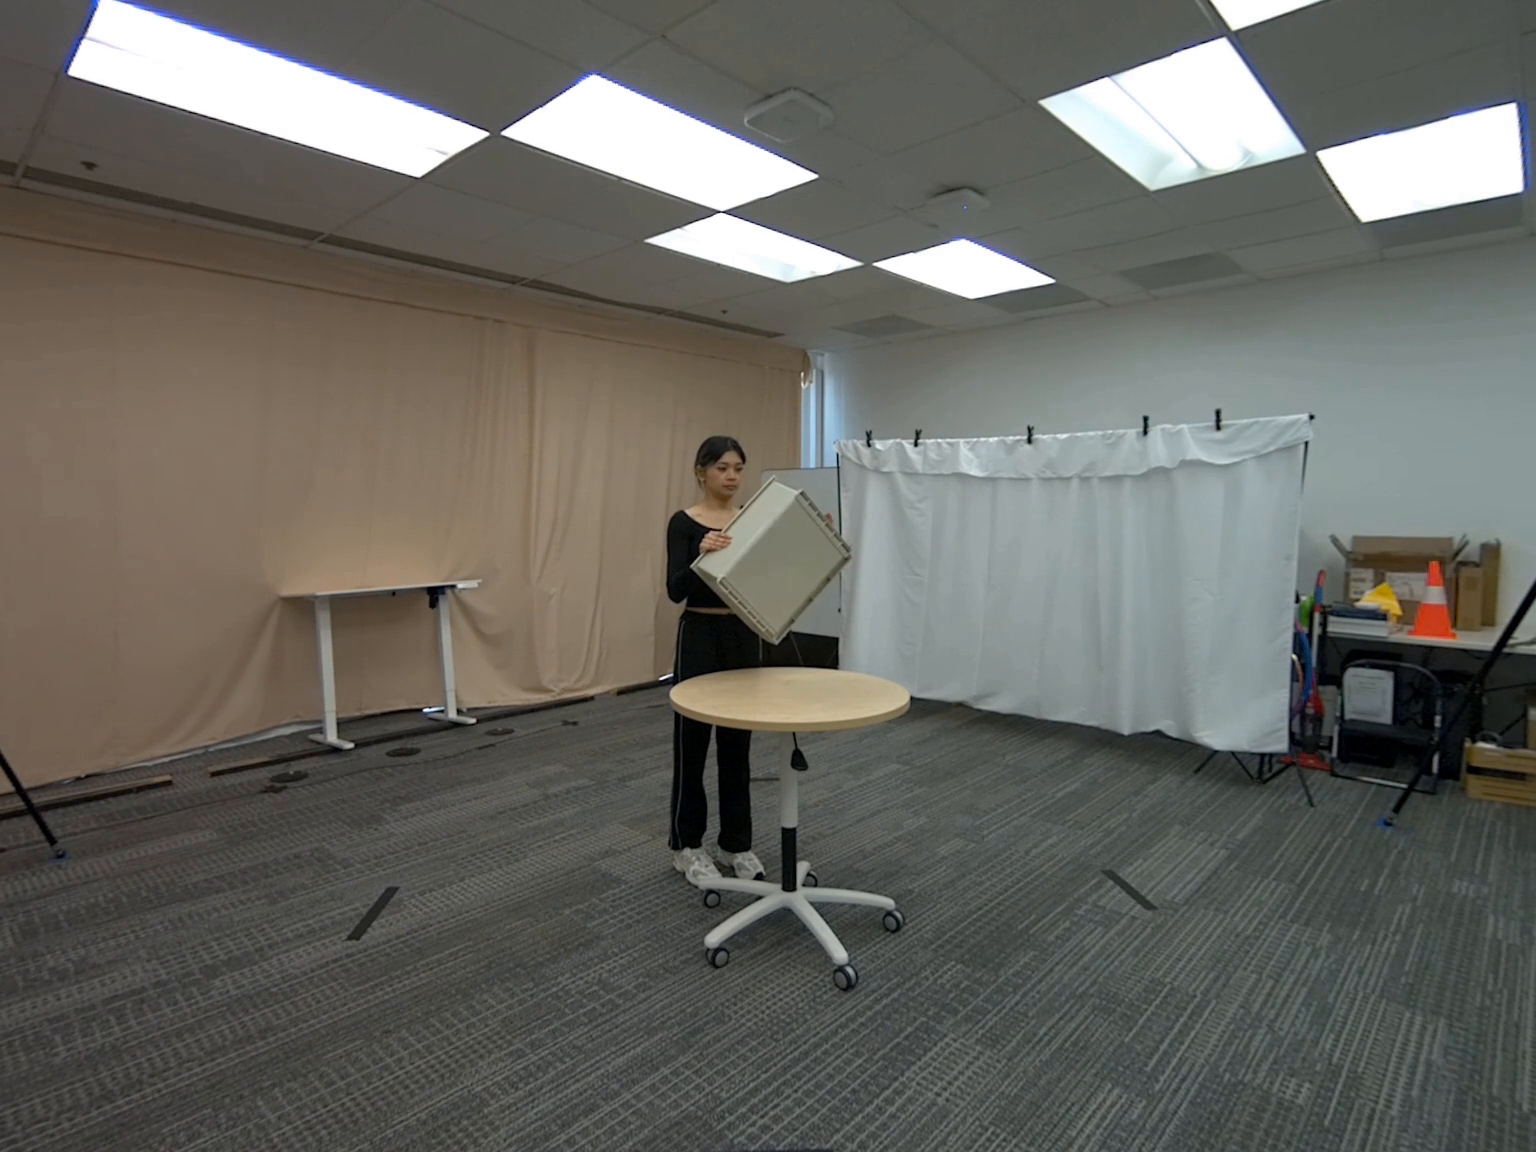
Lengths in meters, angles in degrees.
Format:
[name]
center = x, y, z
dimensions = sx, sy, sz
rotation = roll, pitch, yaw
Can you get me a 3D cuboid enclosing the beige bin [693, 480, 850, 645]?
[beige bin]
center = 0.027, -0.042, 2.857
dimensions = 0.367, 0.421, 0.195
rotation = 48, -8, -27
